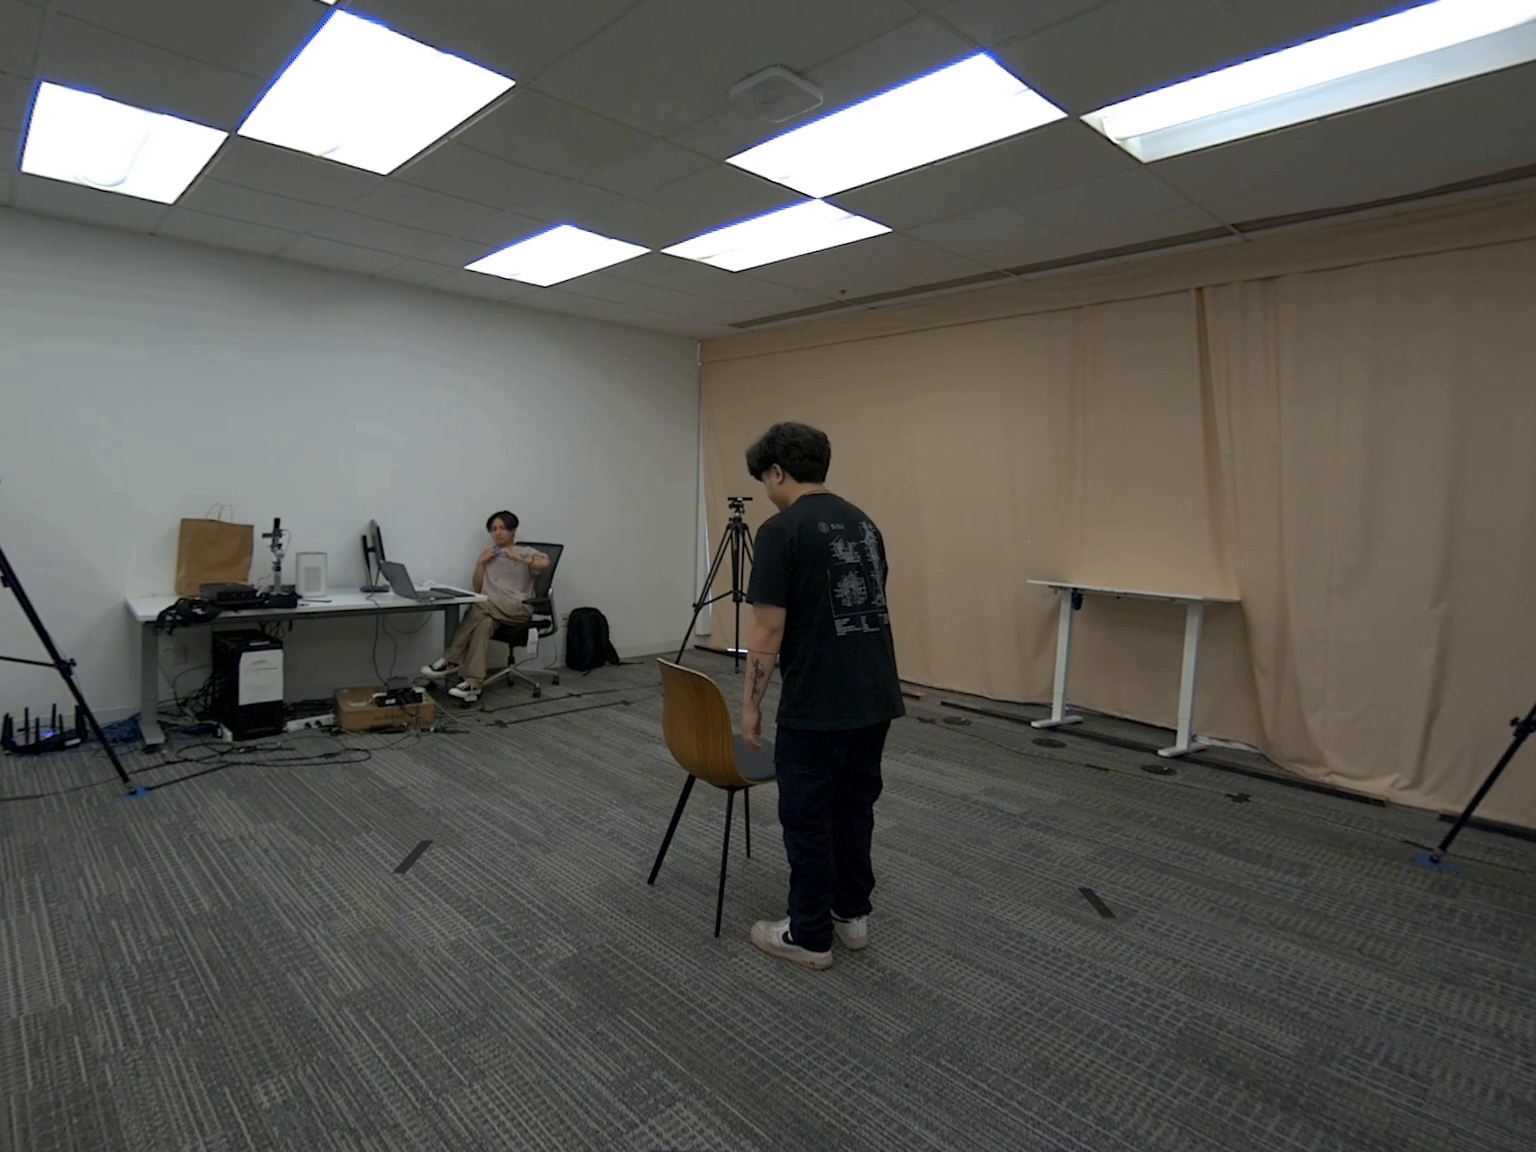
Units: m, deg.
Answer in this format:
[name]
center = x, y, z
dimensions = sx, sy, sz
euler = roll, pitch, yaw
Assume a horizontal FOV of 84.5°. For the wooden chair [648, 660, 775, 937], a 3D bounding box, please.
[wooden chair]
center = -0.106, 0.693, 2.955
dimensions = 0.513, 0.873, 0.490
euler = -7, 7, -36
